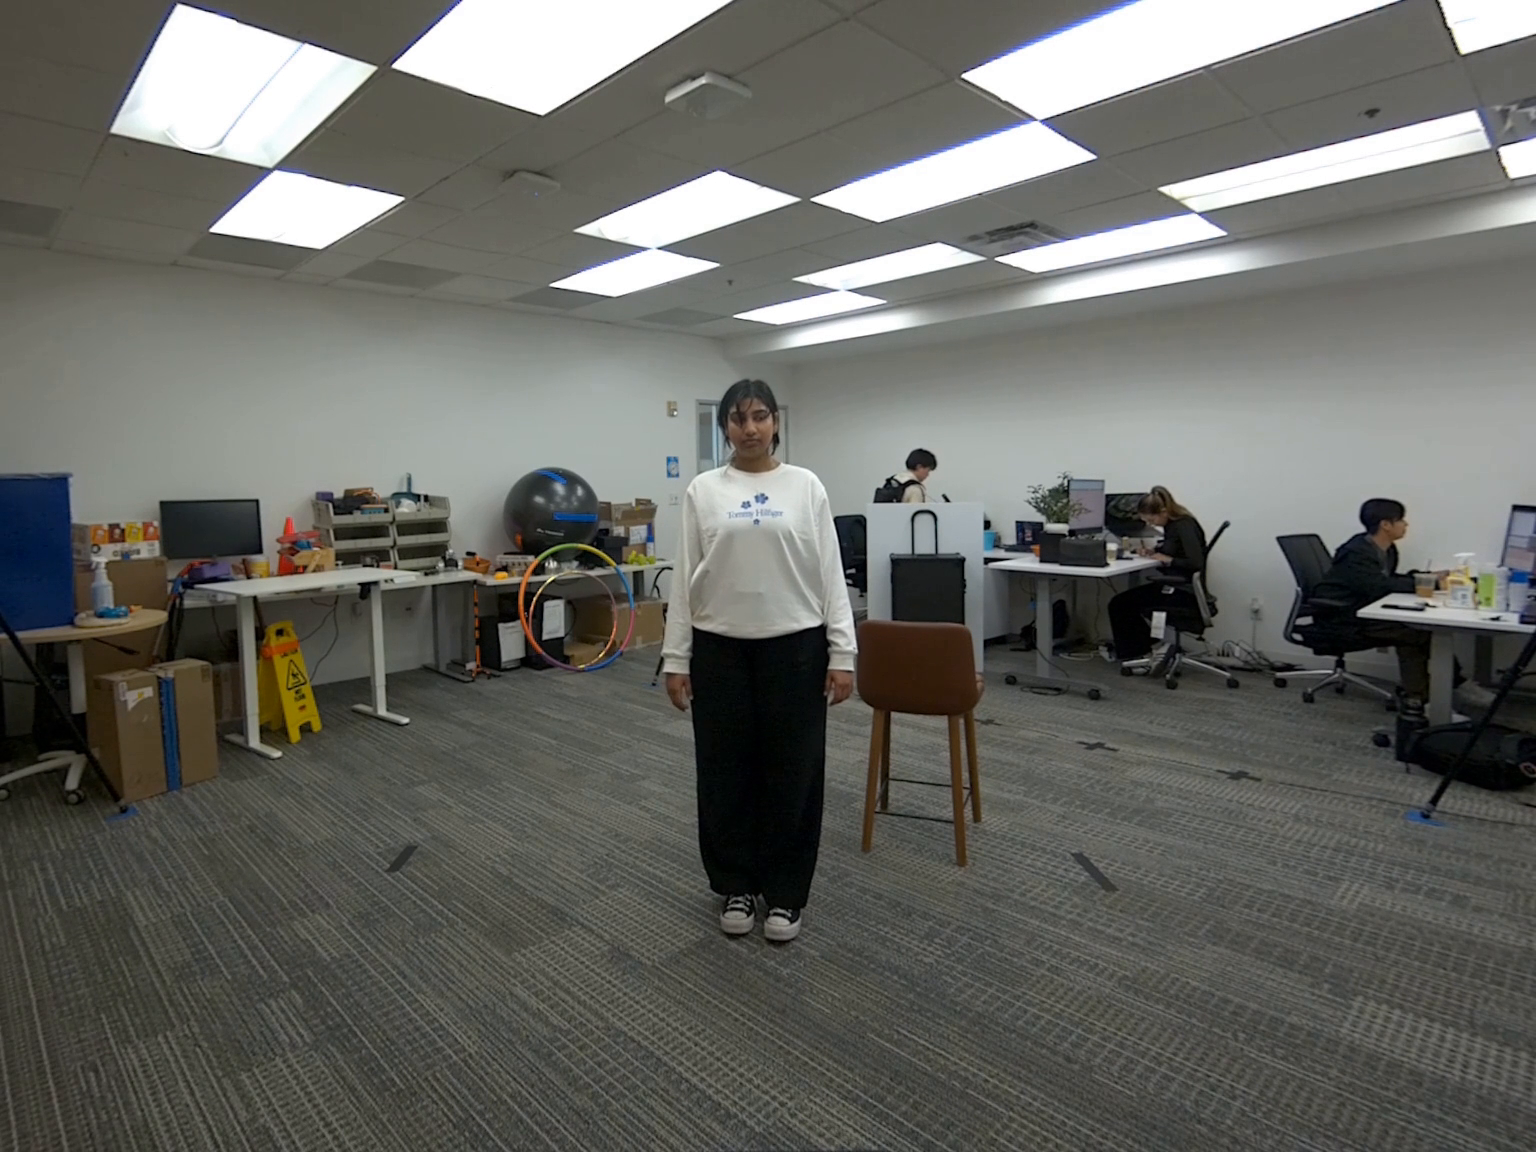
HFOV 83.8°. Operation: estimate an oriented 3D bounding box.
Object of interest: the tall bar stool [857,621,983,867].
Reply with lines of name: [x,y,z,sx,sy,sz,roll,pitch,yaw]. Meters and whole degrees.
tall bar stool: [0.591,0.576,3.306,0.466,0.886,0.460,1,5,22]
